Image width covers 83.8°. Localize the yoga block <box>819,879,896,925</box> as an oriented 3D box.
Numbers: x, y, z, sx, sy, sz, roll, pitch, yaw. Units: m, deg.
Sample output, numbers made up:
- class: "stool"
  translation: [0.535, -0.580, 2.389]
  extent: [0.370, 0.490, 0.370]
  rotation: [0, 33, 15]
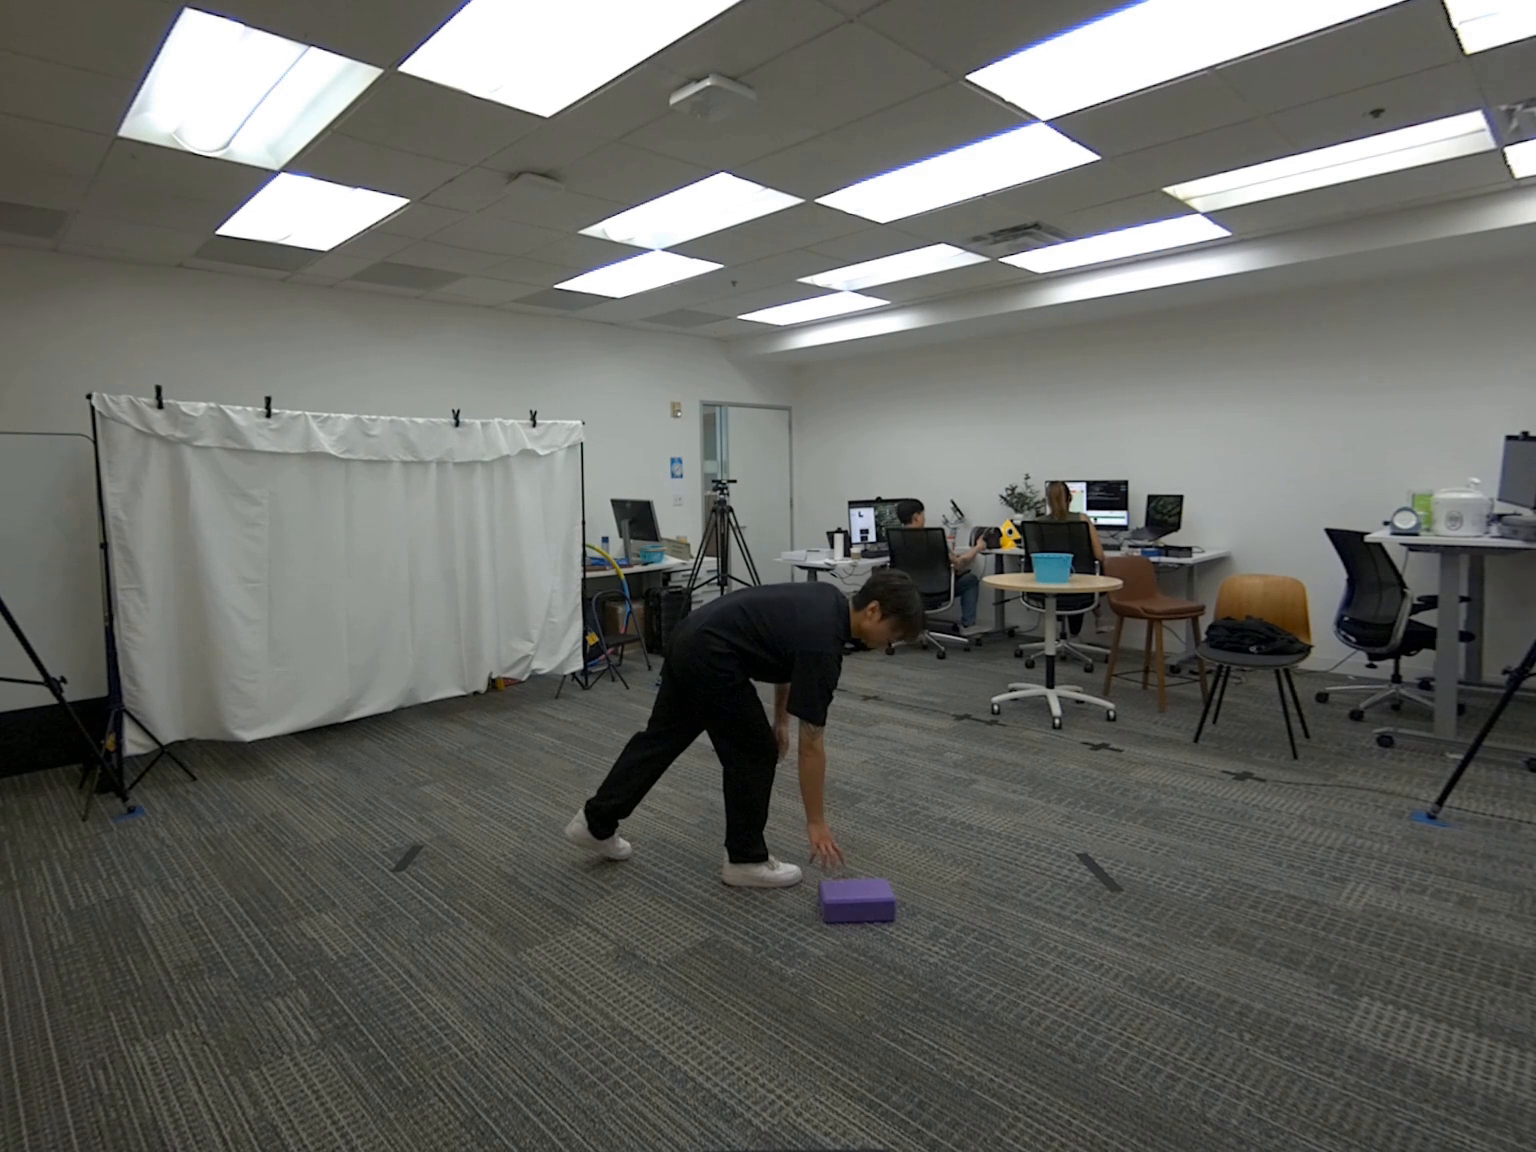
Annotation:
- class: "yoga block"
  translation: [0.289, 1.041, 2.747]
  extent: [0.229, 0.076, 0.150]
  rotation: [-2, 5, -3]
